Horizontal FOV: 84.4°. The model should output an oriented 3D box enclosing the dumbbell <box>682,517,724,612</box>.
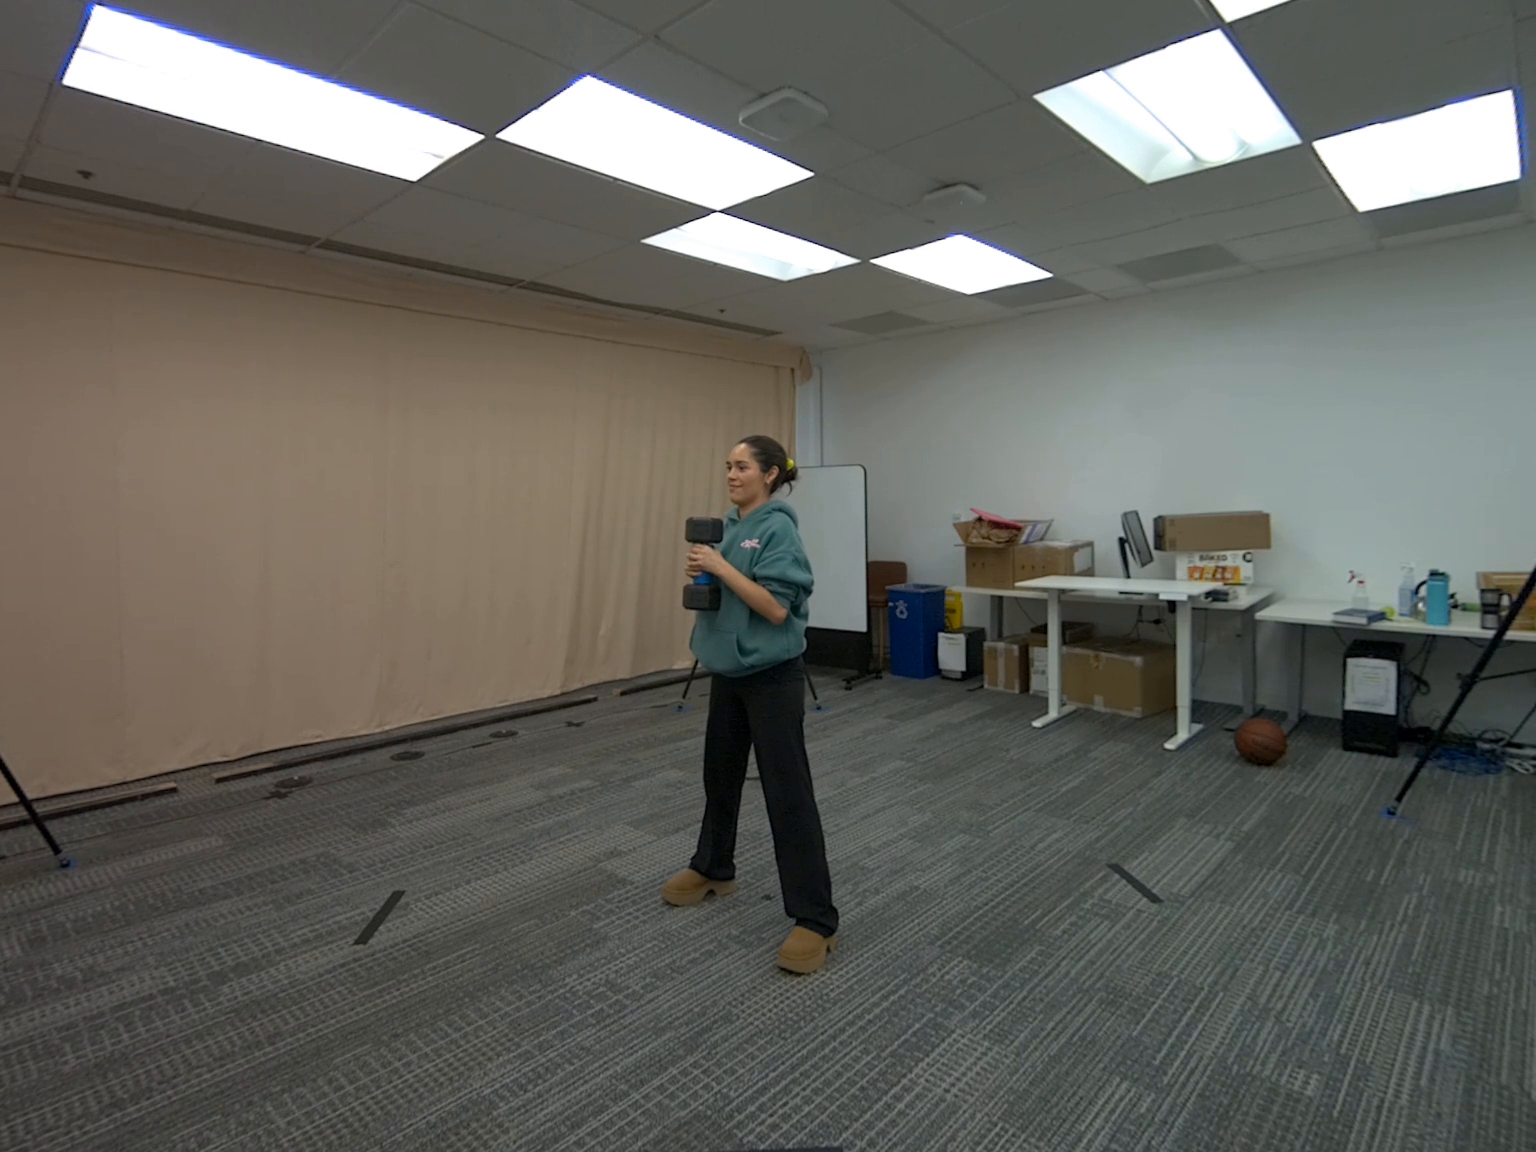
[{"bbox_3d":[-0.206,-0.034,2.686,0.124,0.294,0.108,0,-2,5],"label":"dumbbell"}]
